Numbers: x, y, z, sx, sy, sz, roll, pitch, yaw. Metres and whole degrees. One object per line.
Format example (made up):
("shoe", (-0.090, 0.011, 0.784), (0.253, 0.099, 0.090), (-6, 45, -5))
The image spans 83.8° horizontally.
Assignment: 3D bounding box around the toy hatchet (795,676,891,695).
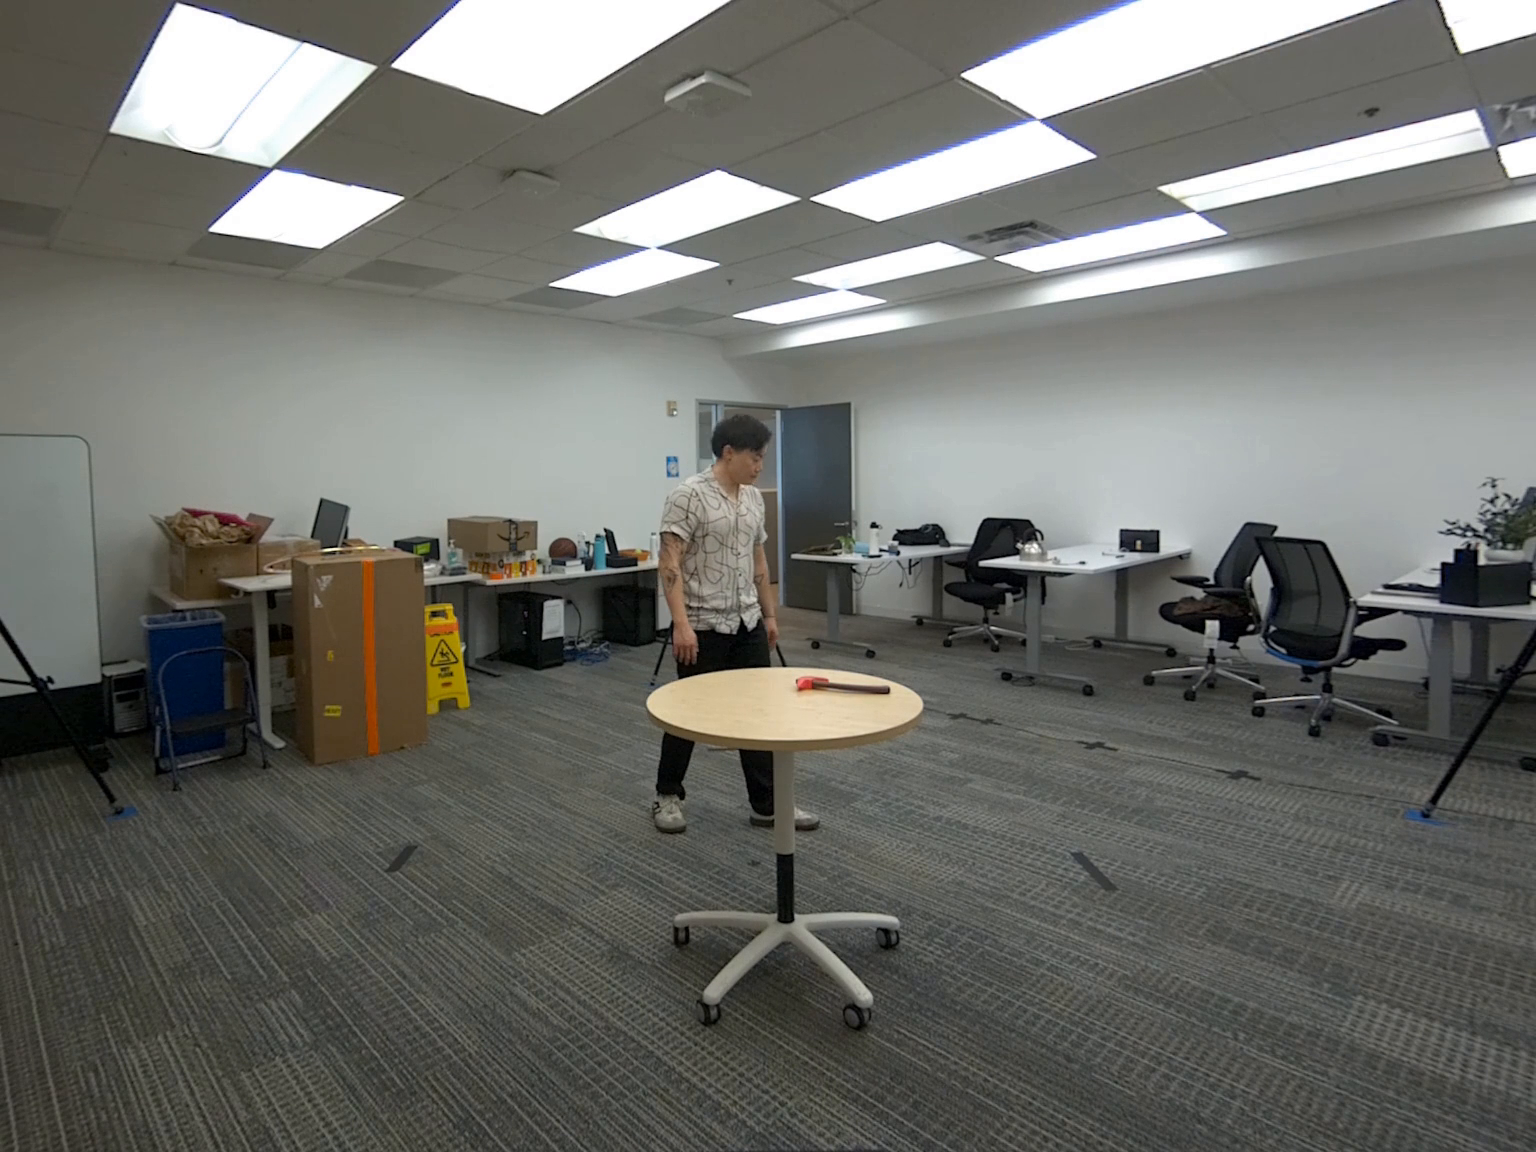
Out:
("toy hatchet", (0.228, 0.320, 2.493), (0.272, 0.029, 0.130), (1, 3, 6))
